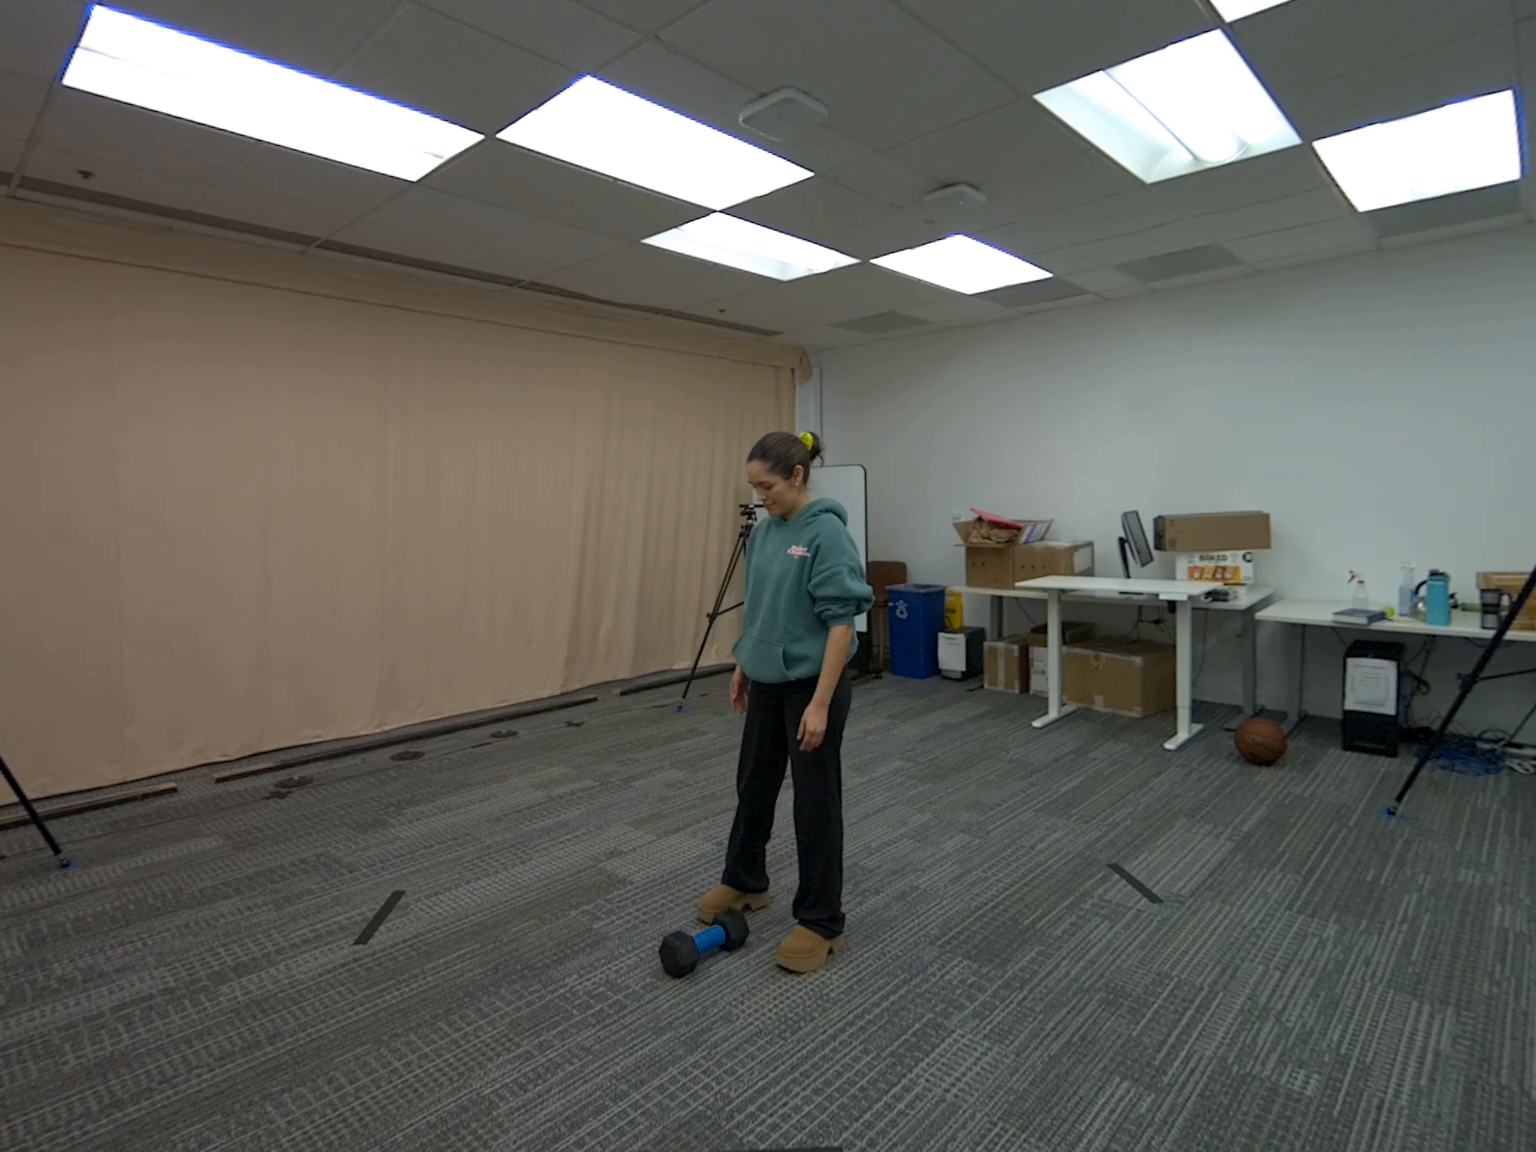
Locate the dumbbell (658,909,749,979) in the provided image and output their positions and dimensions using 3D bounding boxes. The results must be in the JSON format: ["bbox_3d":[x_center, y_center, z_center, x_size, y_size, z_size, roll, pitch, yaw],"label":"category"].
[{"bbox_3d":[-0.191,1.128,2.583,0.284,0.108,0.127,-4,5,-43],"label":"dumbbell"}]
